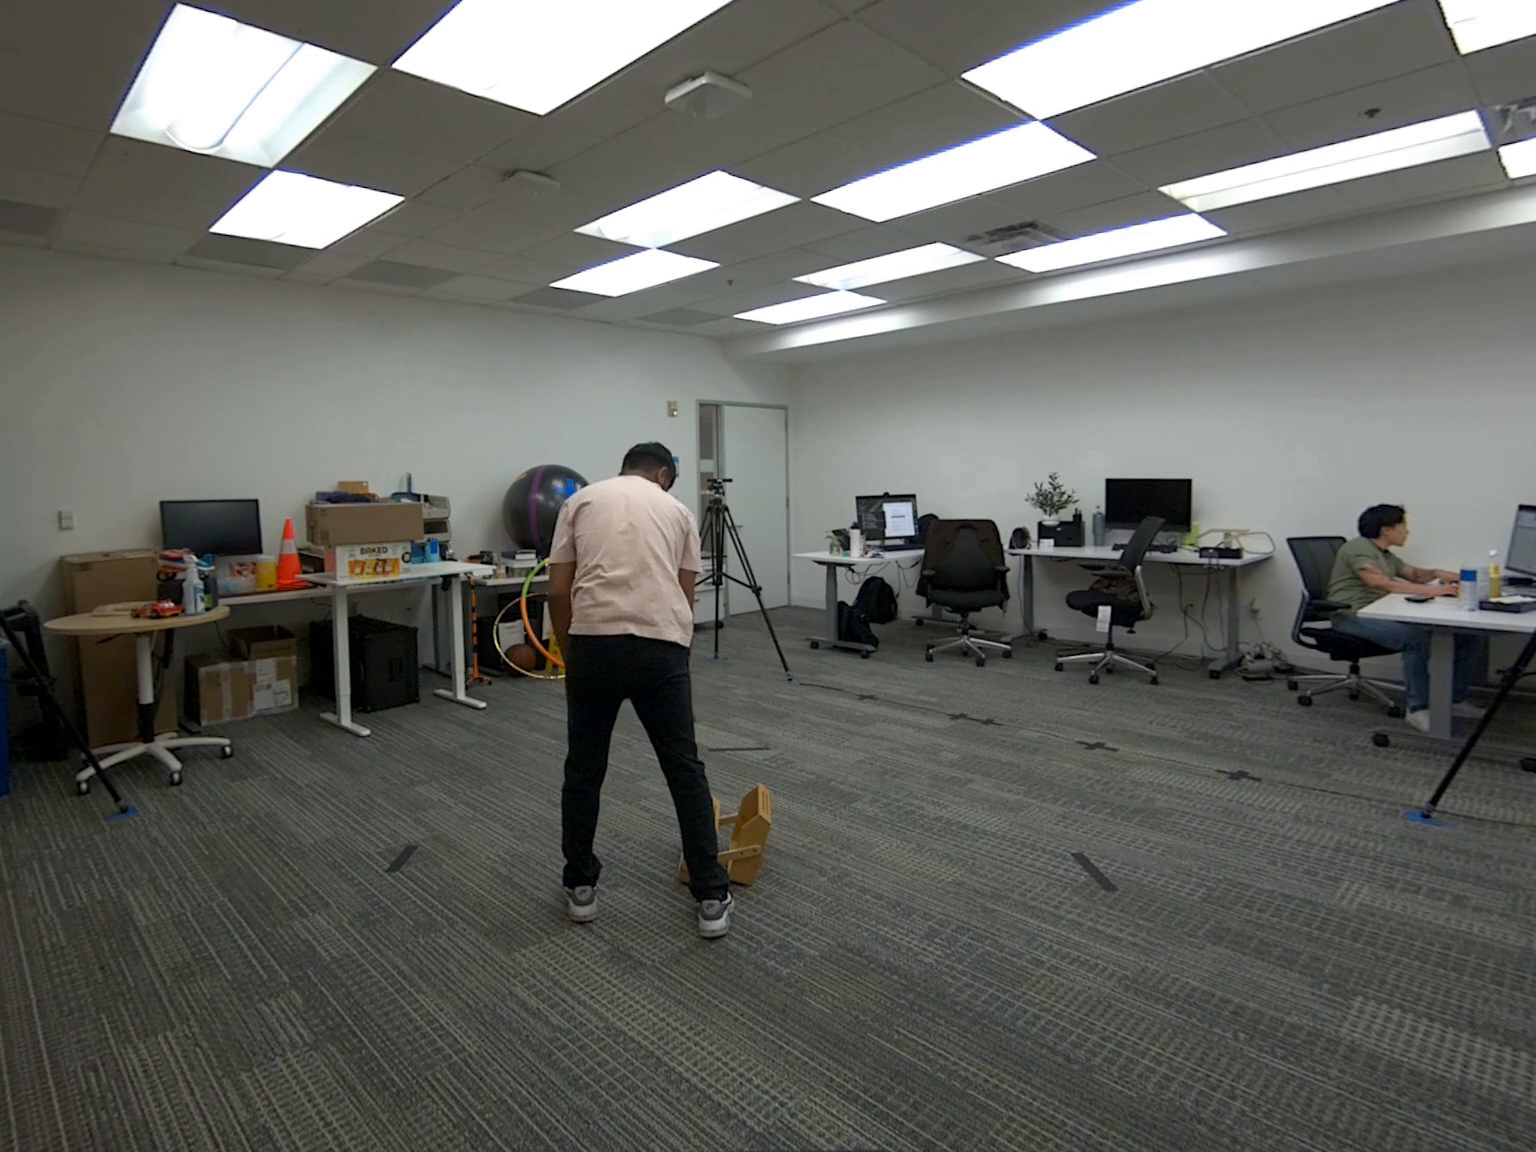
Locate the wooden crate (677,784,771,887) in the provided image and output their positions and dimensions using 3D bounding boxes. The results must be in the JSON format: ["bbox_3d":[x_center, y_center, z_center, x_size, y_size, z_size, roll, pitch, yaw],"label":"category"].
[{"bbox_3d":[-0.153,0.916,3.077,0.273,0.301,0.325,16,5,-1],"label":"wooden crate"}]
